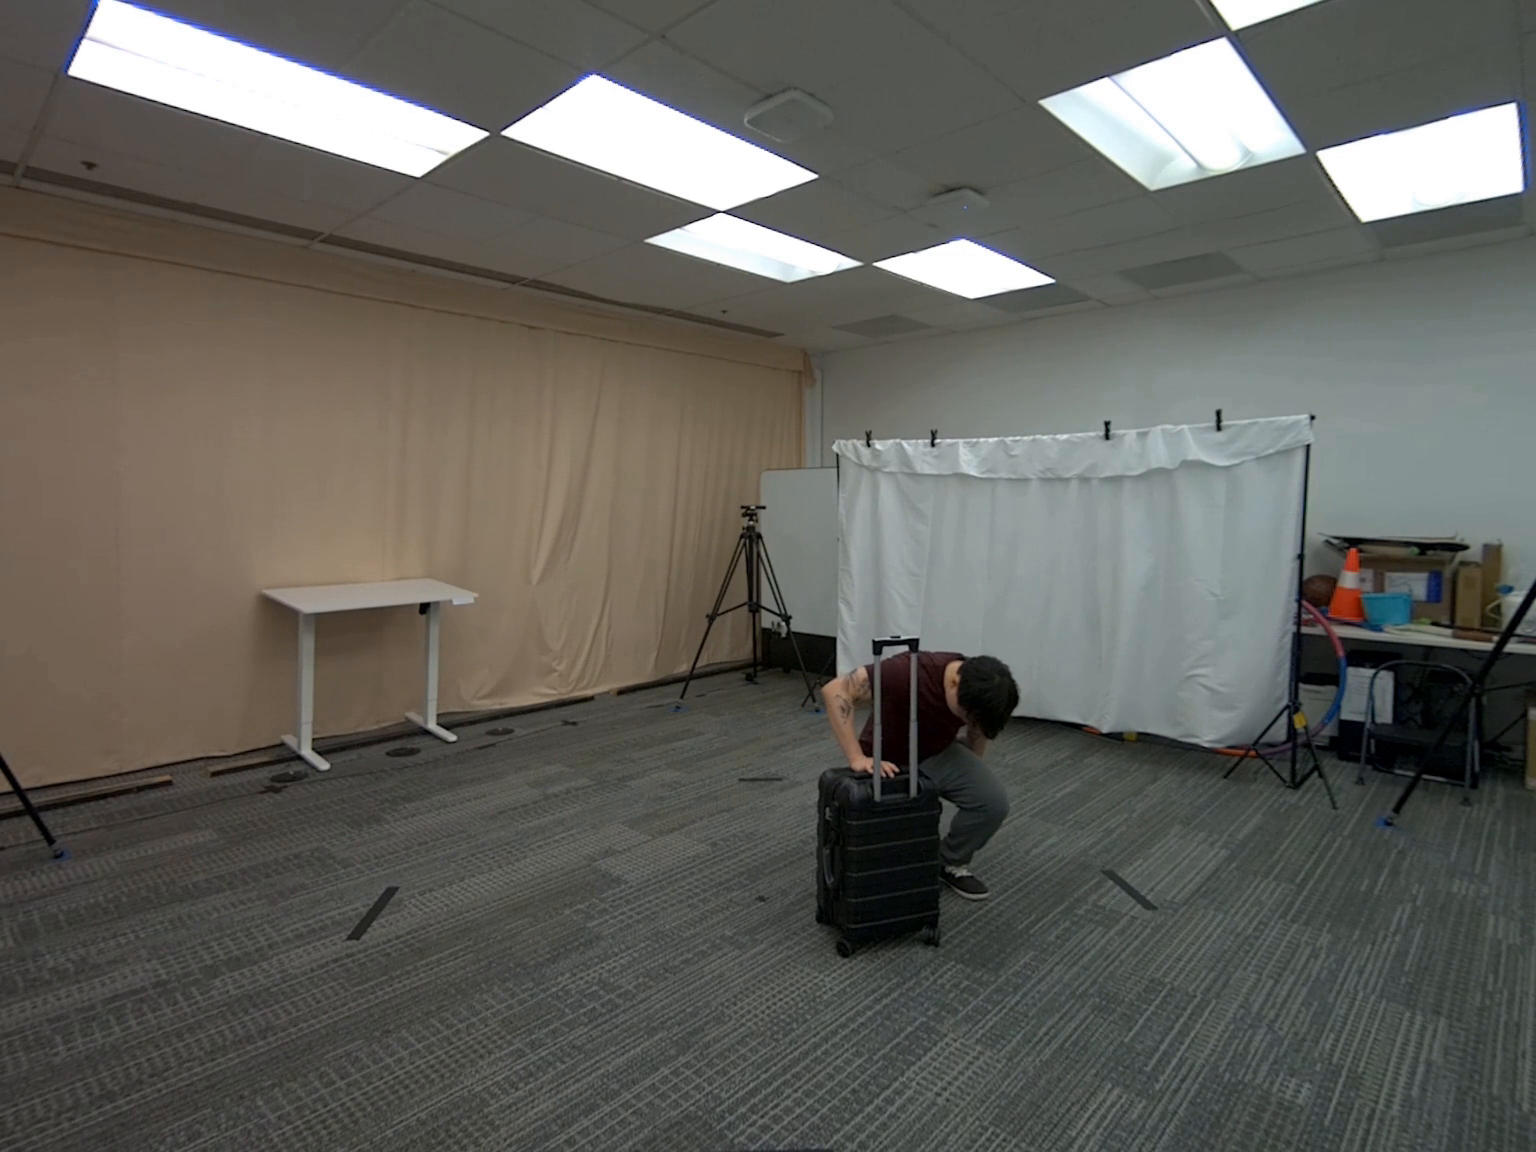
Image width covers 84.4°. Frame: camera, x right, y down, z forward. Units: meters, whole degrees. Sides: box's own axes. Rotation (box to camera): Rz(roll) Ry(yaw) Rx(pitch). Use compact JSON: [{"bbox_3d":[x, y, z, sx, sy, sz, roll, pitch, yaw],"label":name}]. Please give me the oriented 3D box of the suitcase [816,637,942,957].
[{"bbox_3d":[0.356,0.693,2.713,0.377,0.977,0.262,0,2,-17],"label":"suitcase"}]
